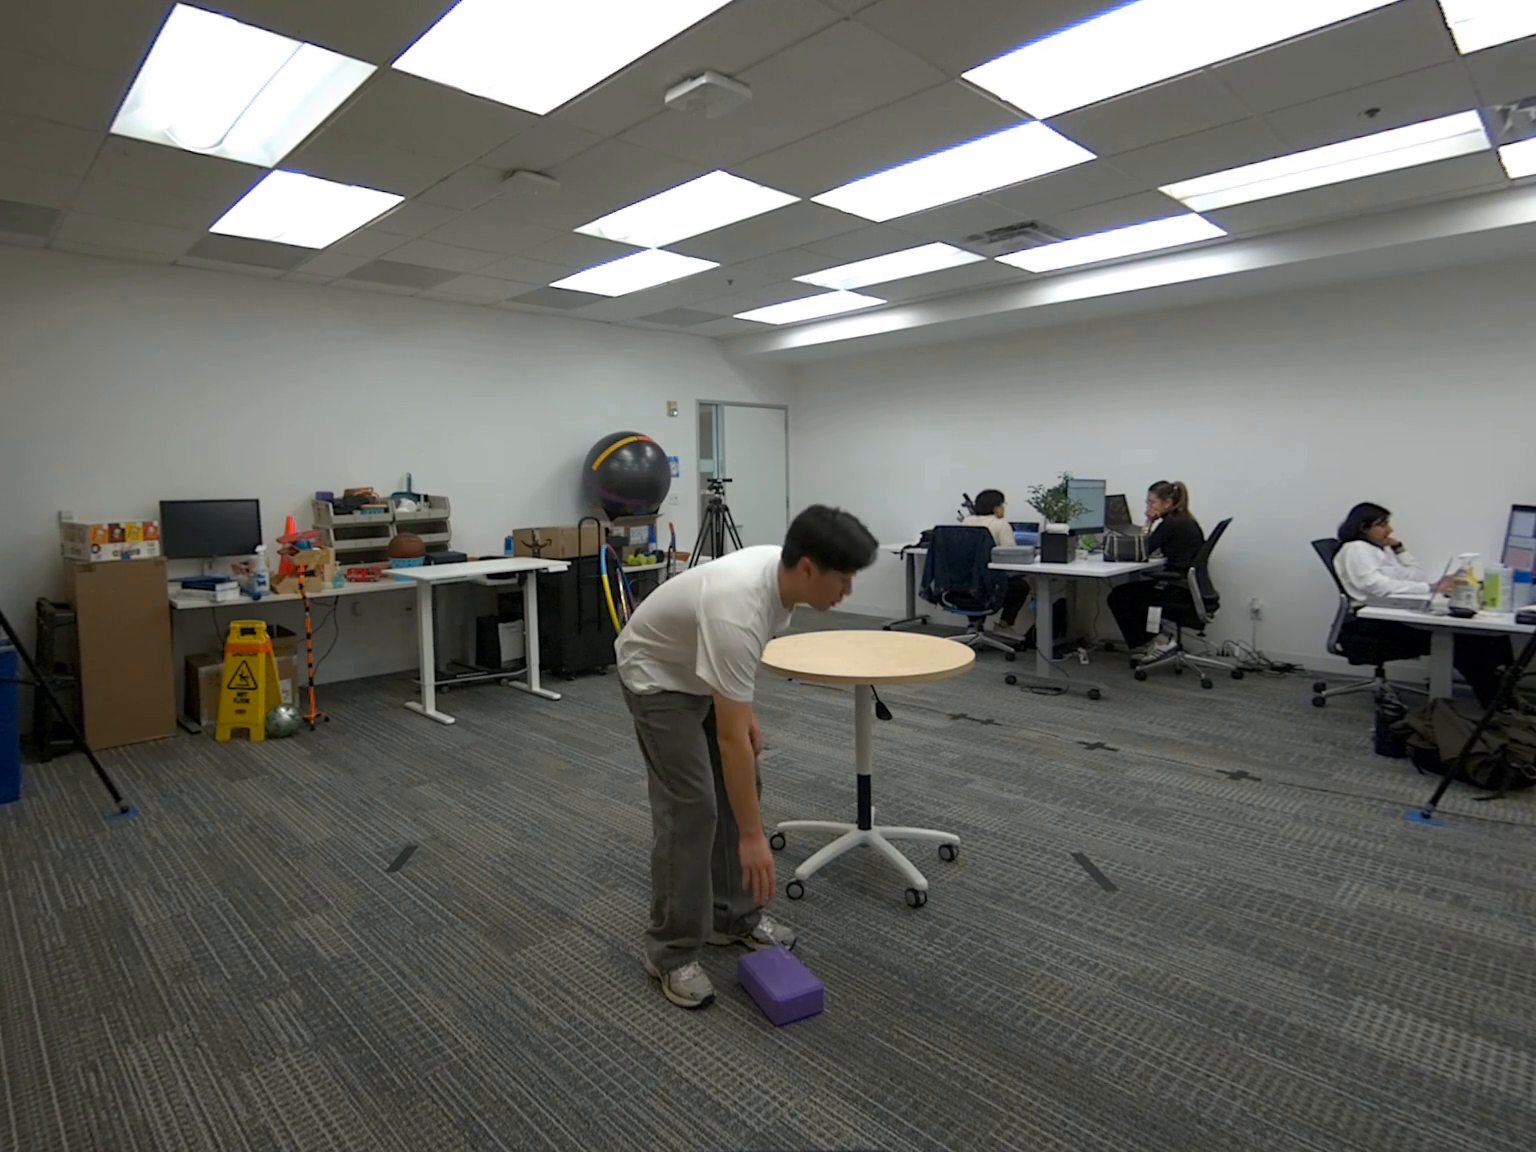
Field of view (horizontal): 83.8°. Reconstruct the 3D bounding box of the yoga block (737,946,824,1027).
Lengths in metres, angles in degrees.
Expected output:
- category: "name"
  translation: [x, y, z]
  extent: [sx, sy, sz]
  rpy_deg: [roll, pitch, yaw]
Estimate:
- category: "yoga block"
  translation: [0.038, 1.101, 2.301]
  extent: [0.146, 0.076, 0.235]
  rpy_deg: [-4, 7, -27]
